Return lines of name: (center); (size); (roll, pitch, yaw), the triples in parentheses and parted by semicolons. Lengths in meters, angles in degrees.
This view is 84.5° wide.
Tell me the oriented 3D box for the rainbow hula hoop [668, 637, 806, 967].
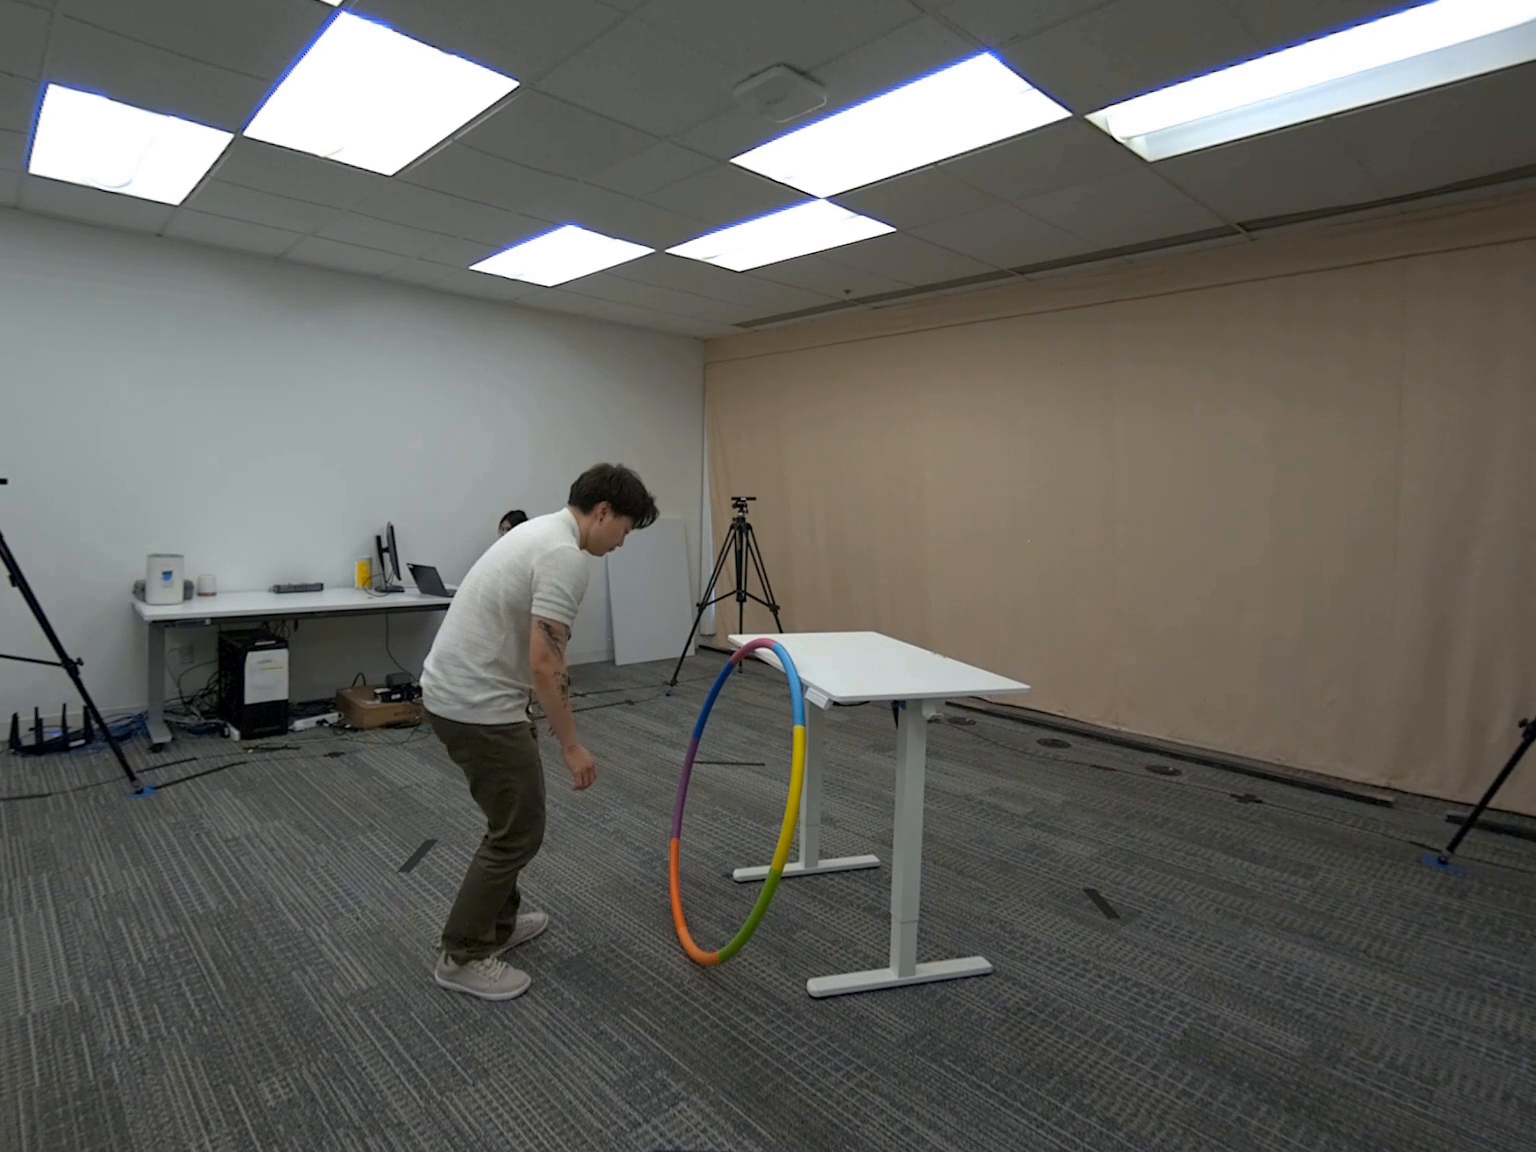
rainbow hula hoop: (-0.137, 0.677, 2.635); (0.035, 0.979, 0.995); (17, -1, -20)
